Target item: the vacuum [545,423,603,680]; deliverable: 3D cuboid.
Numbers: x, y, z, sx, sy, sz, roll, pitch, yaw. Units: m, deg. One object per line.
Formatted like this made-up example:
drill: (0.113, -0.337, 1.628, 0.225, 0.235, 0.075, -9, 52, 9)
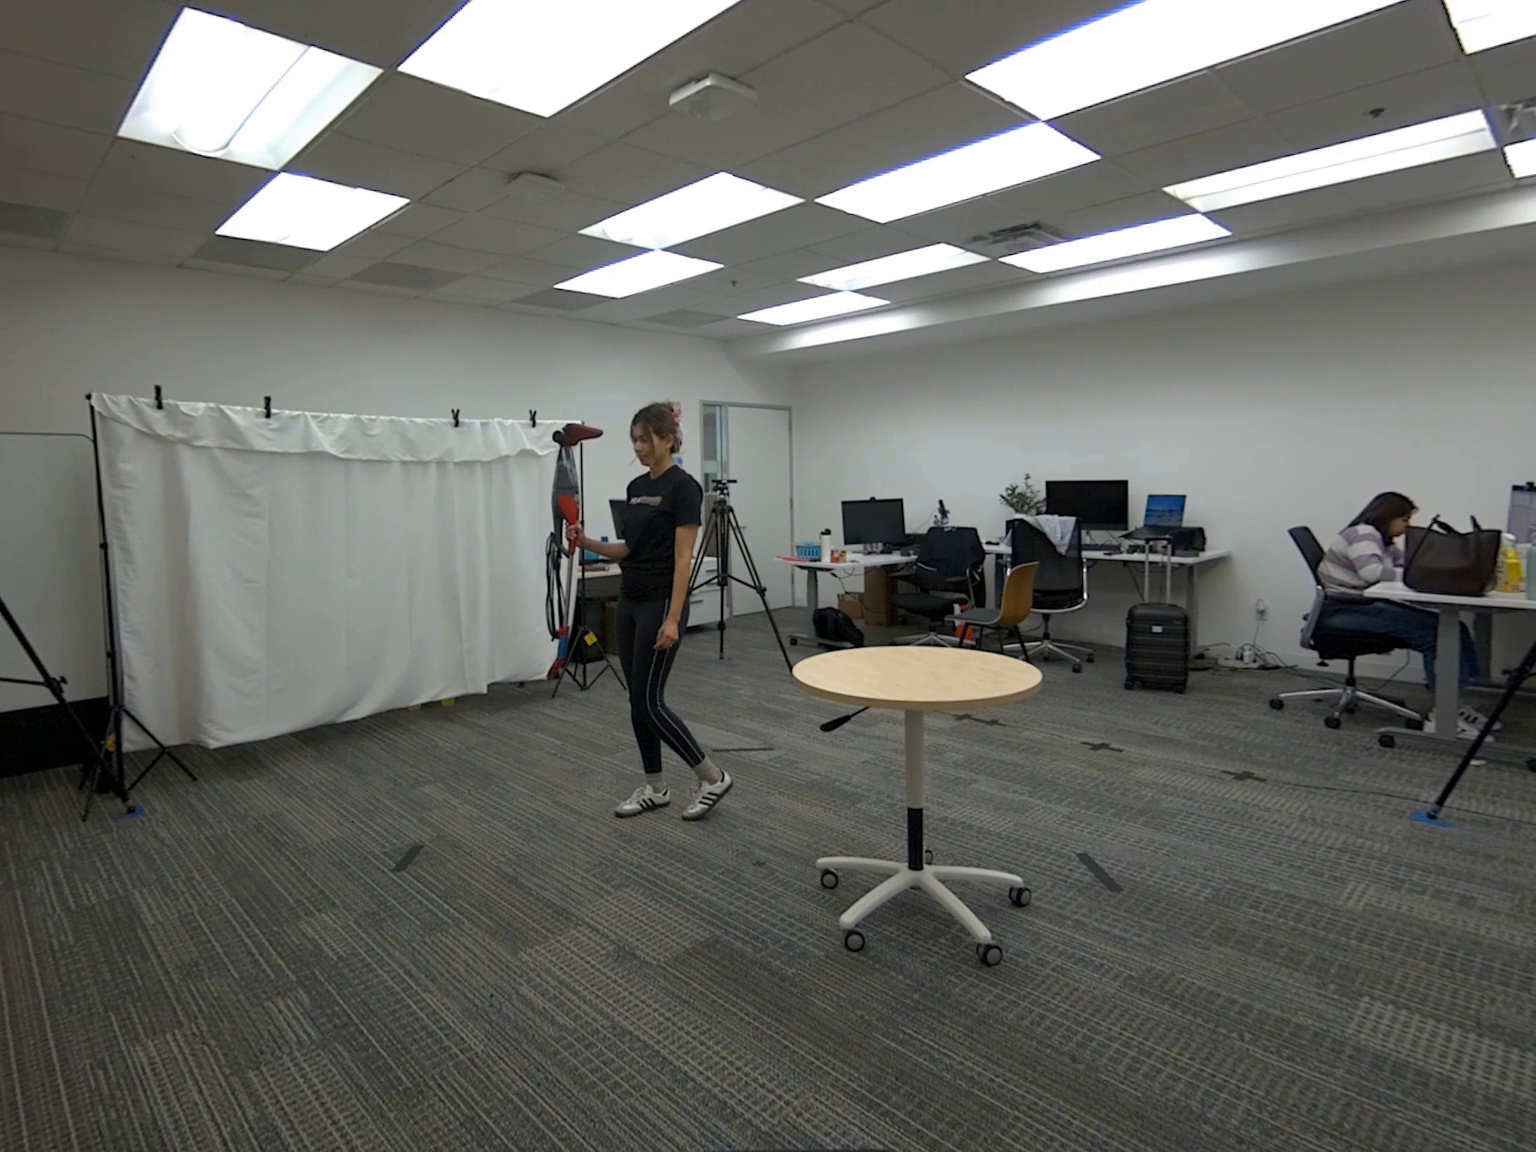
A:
vacuum: (-0.867, -0.086, 3.596, 0.147, 1.047, 0.247, 6, 3, 21)
